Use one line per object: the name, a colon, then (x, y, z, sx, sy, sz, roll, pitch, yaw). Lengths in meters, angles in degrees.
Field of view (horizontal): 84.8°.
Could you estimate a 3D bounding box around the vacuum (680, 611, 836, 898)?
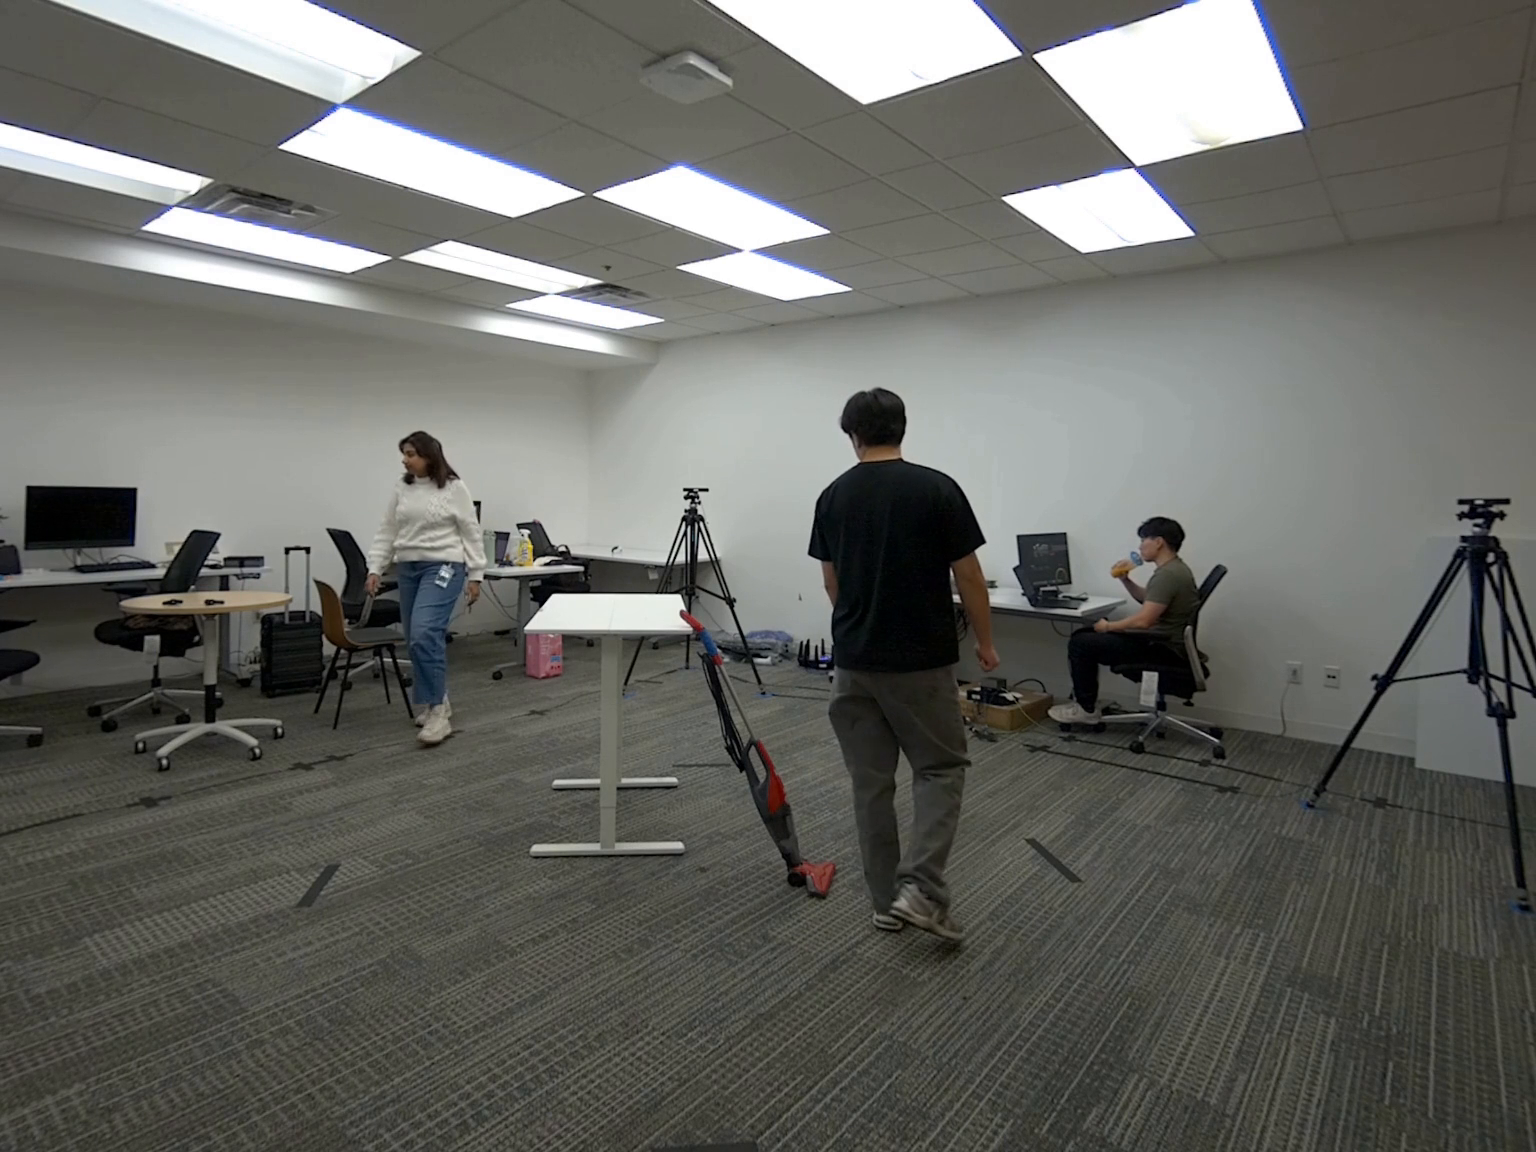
vacuum: (-0.086, 0.607, 3.087, 0.145, 1.059, 0.248, -29, -7, 22)
